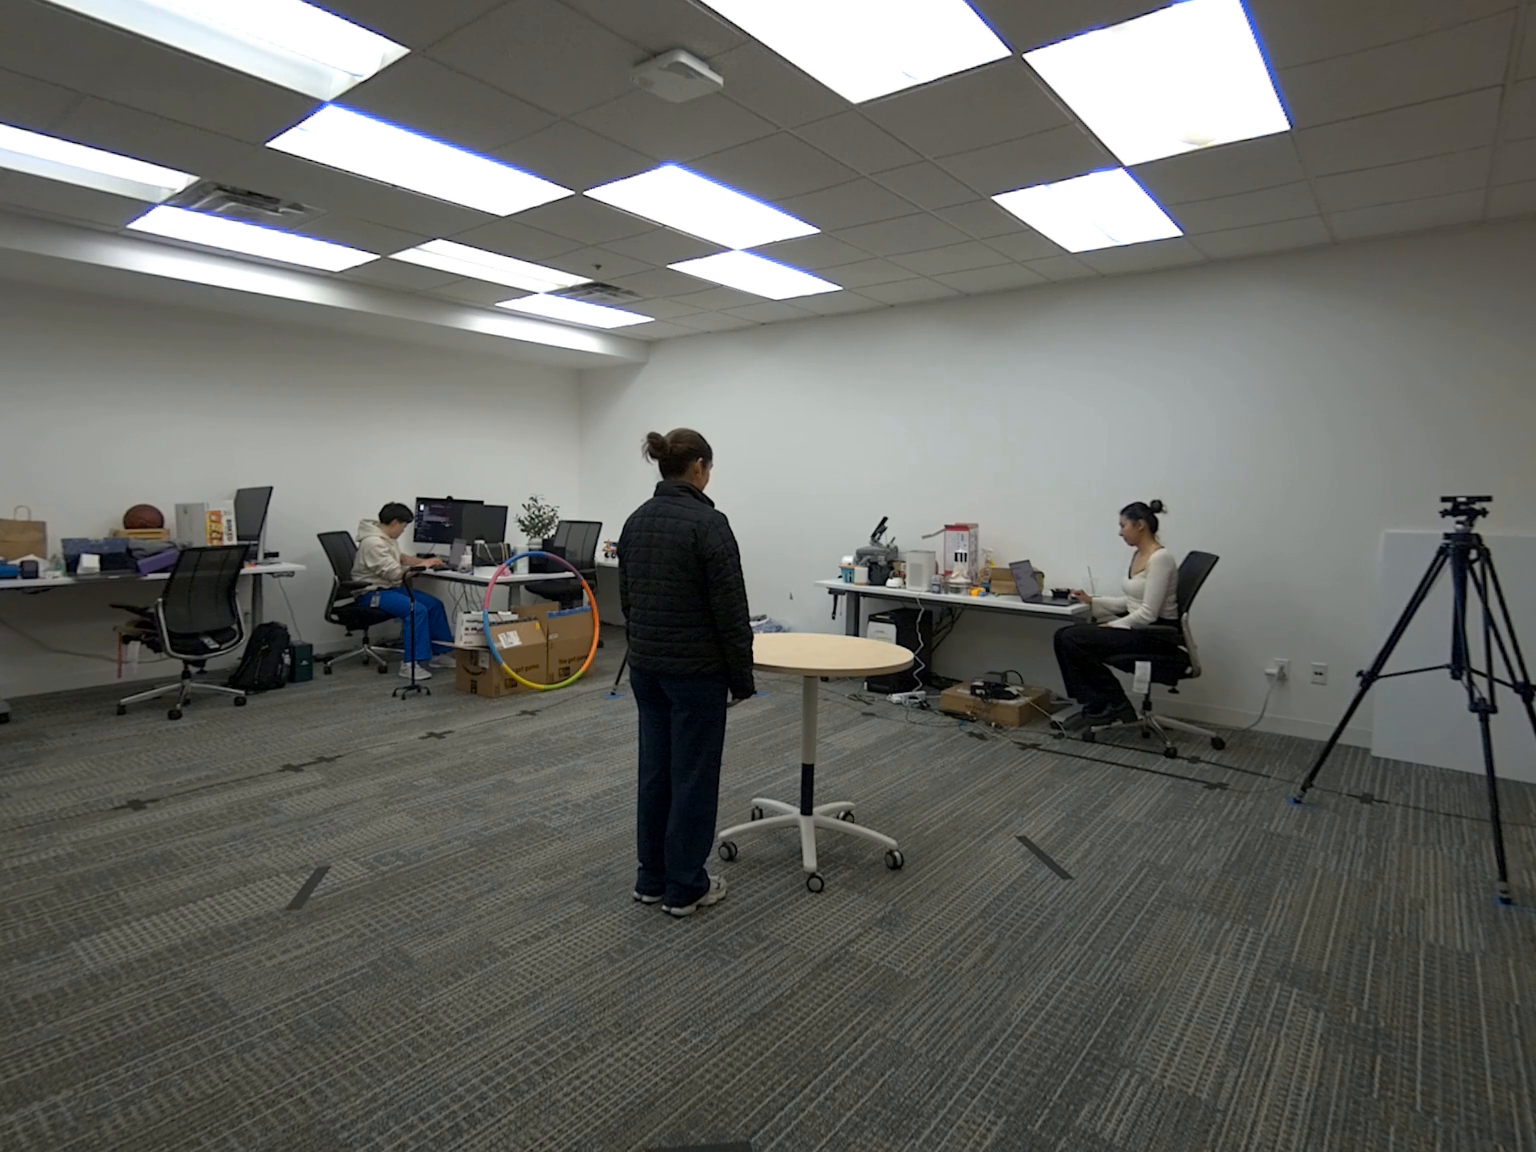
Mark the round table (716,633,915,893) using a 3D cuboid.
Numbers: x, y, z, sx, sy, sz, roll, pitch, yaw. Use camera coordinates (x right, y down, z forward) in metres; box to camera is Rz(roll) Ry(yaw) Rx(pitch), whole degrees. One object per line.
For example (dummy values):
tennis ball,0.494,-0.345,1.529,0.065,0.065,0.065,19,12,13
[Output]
round table,0.163,0.663,3.282,0.784,0.784,0.789,2,4,-2
